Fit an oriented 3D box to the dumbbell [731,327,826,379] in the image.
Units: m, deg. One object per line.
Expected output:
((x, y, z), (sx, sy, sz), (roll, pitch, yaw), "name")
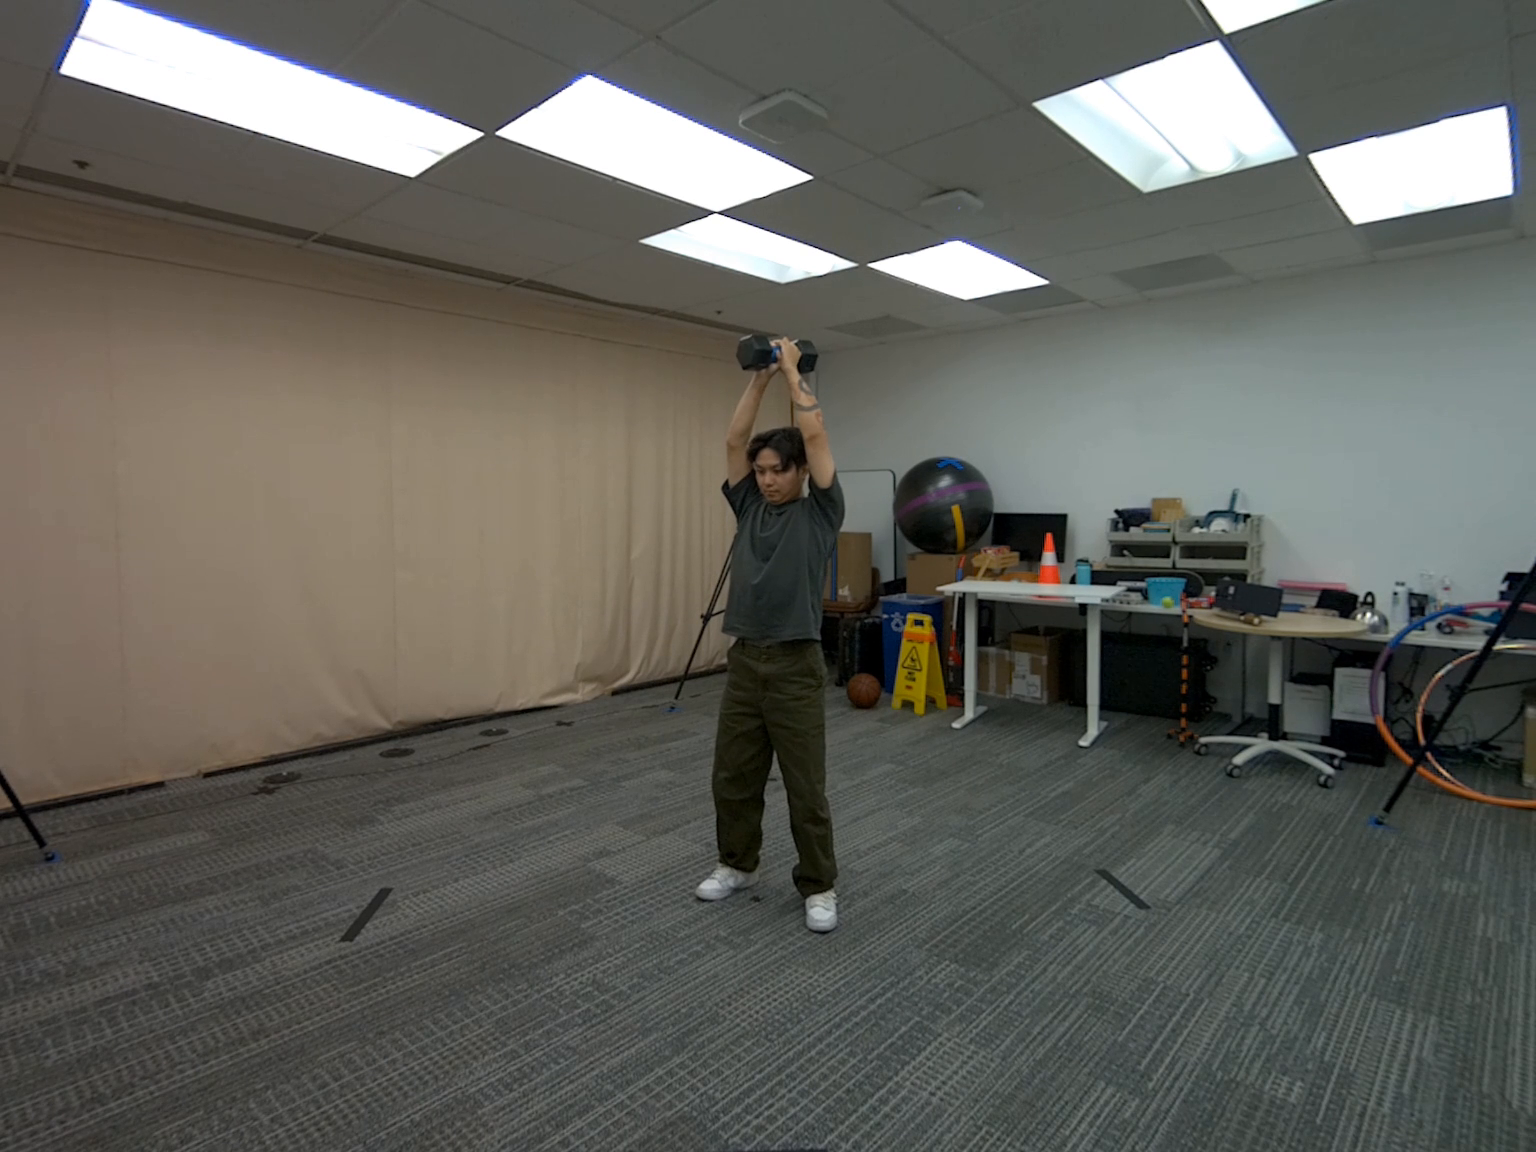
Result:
((0.037, -0.753, 2.858), (0.285, 0.122, 0.113), (-7, 34, -40), "dumbbell")
